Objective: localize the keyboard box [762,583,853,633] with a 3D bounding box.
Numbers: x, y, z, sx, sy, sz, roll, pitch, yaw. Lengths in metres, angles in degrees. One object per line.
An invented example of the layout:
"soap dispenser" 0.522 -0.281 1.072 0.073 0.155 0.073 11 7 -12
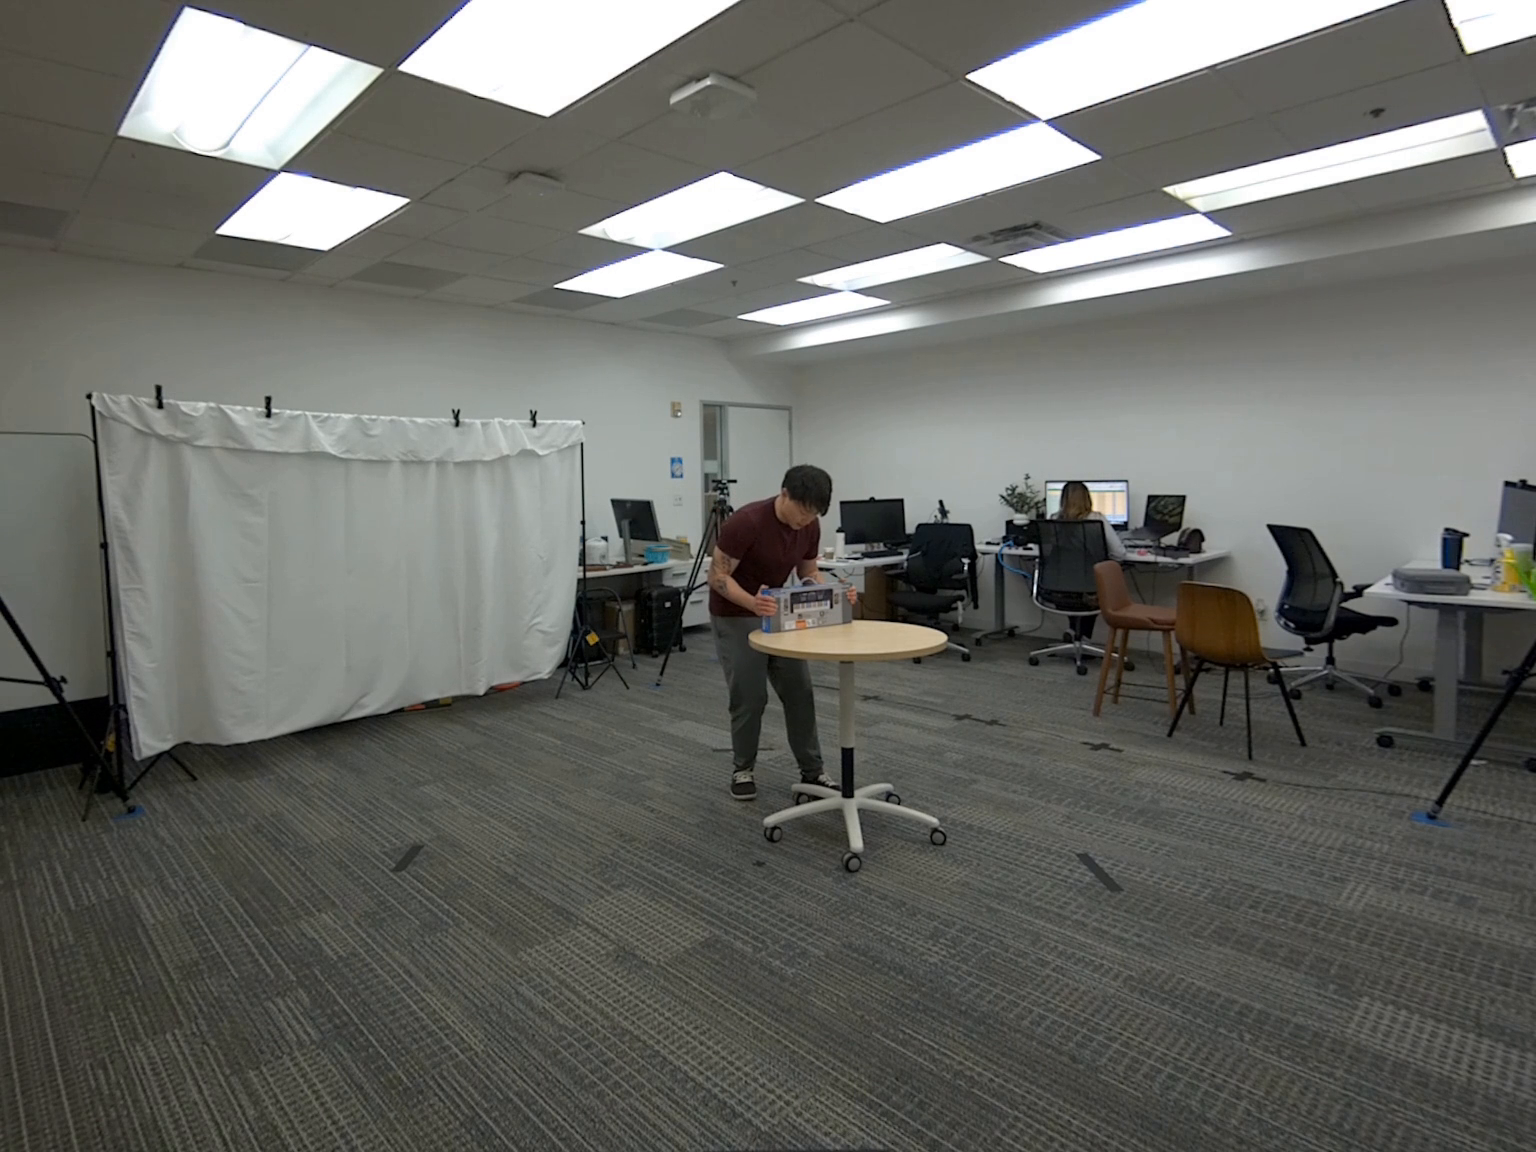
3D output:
"keyboard box" 0.165 0.134 3.550 0.426 0.175 0.061 -4 6 -34
